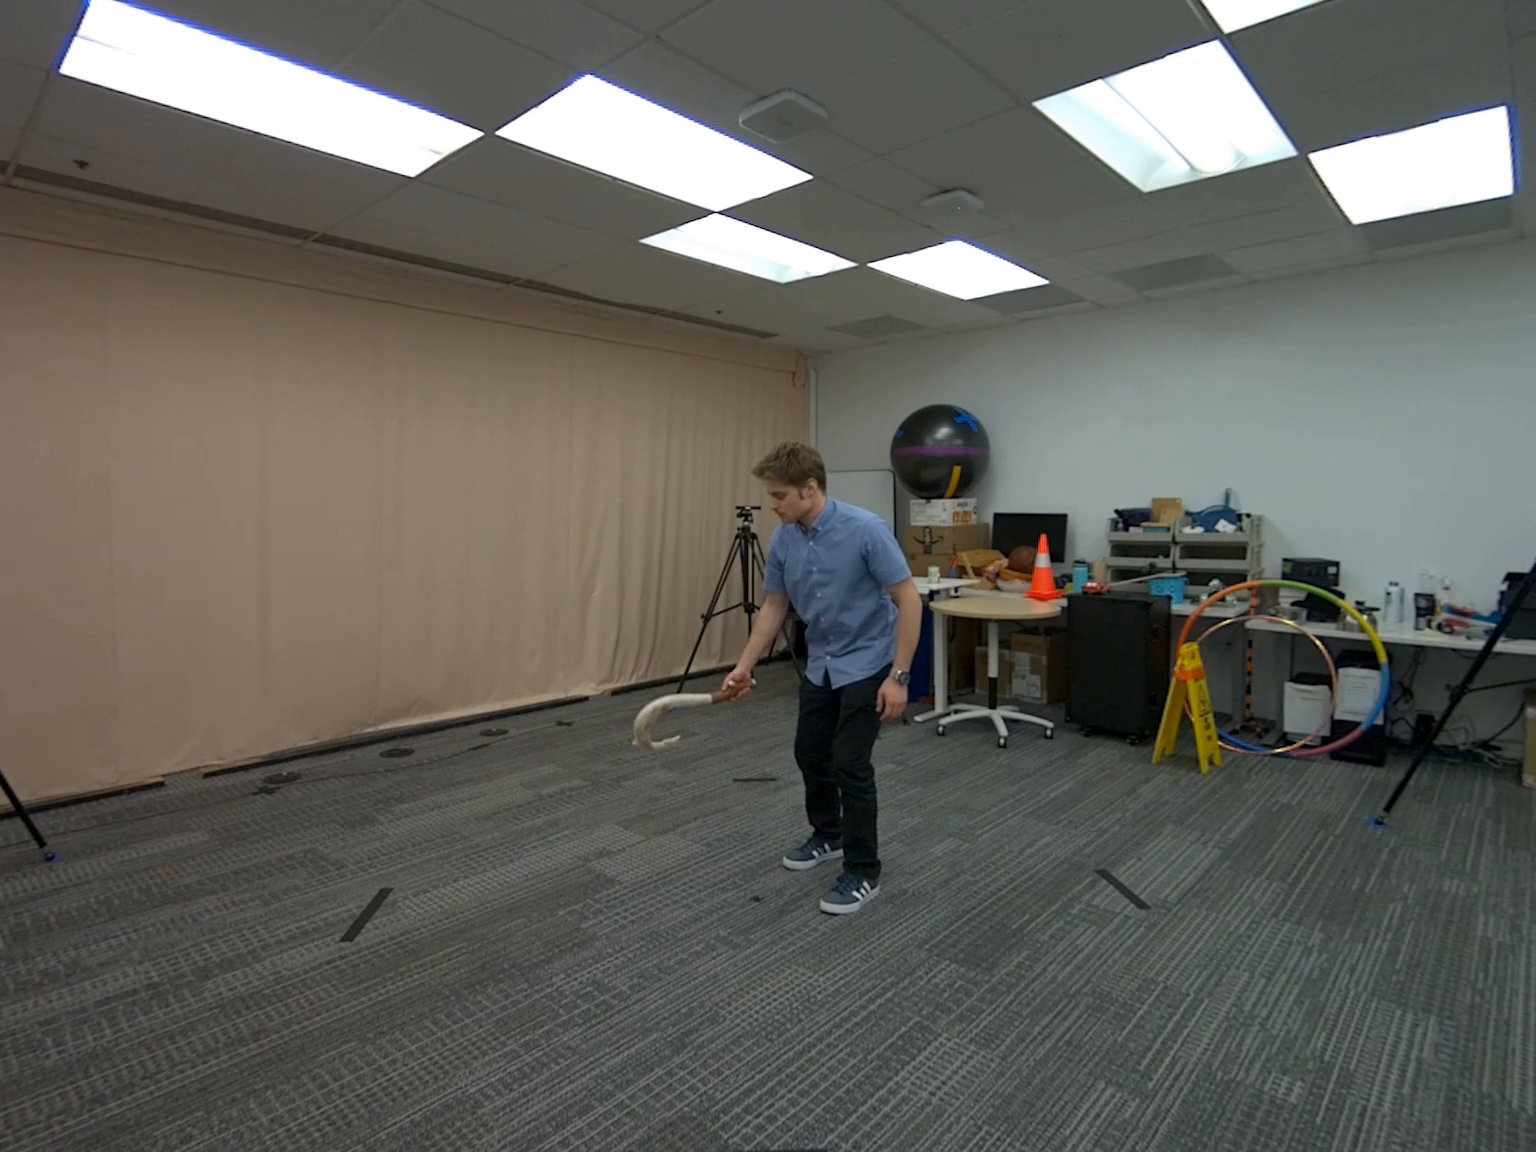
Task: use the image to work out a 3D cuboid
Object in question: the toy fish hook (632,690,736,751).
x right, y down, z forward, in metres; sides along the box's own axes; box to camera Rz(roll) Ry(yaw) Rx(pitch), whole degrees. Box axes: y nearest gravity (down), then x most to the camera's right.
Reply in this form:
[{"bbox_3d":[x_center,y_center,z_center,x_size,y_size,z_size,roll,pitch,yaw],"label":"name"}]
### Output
[{"bbox_3d":[-0.252,0.496,2.989,0.494,0.222,0.050,-11,36,-33],"label":"toy fish hook"}]
